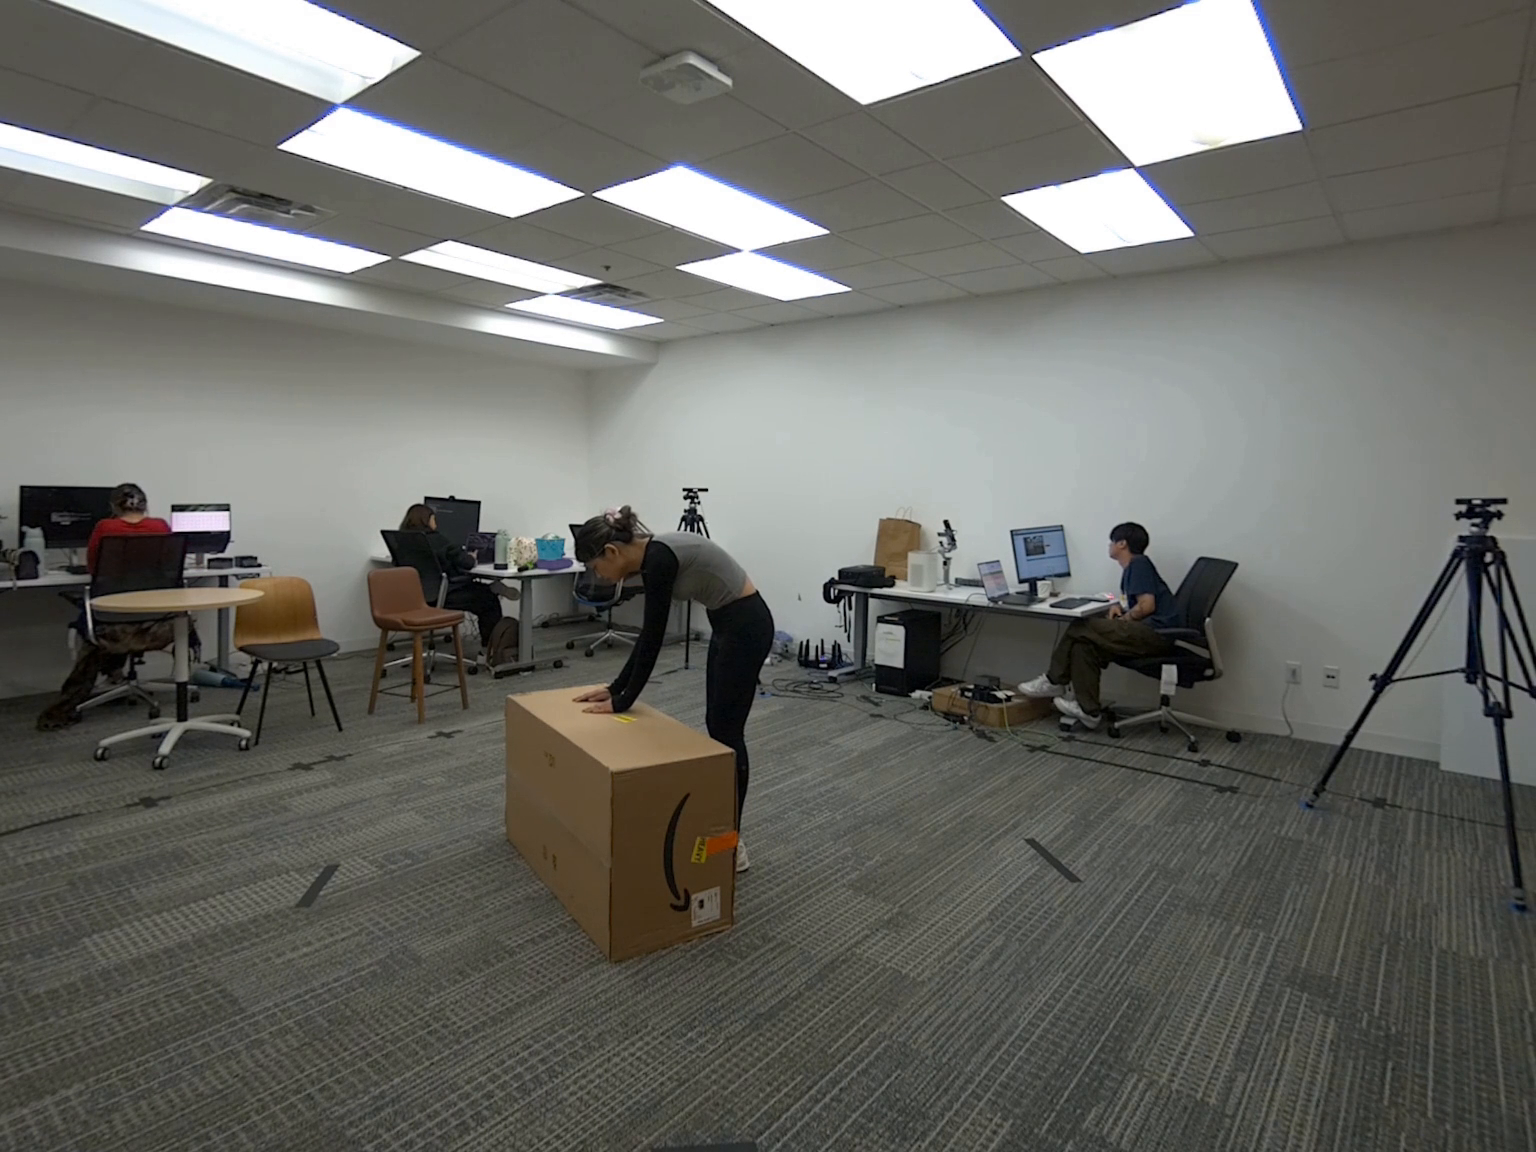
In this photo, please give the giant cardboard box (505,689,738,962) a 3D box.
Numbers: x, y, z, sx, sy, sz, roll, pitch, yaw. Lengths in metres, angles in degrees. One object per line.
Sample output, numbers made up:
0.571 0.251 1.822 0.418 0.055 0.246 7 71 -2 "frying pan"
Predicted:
-0.575 0.785 2.999 0.414 0.575 1.059 -1 6 -33 "giant cardboard box"
